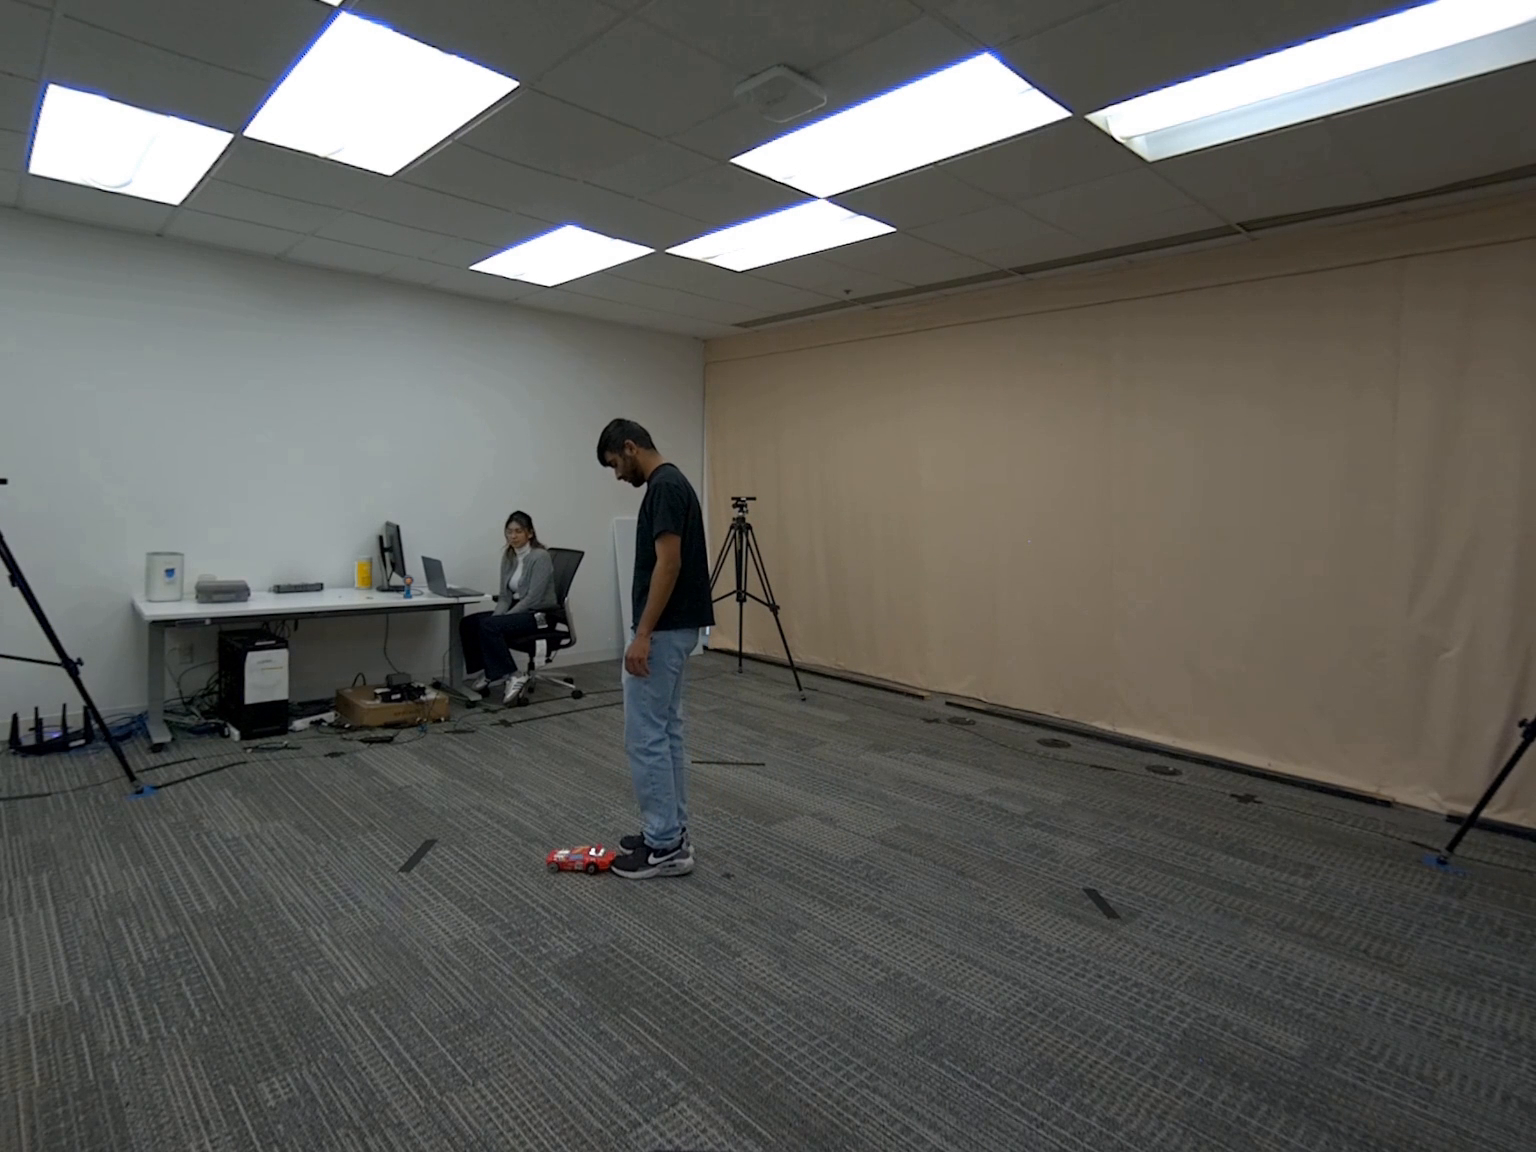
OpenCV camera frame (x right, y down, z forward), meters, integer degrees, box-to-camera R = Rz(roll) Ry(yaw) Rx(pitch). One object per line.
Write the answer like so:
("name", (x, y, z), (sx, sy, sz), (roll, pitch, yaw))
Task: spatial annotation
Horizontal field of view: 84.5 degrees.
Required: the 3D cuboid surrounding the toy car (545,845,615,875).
("toy car", (-0.692, 1.051, 3.137), (0.256, 0.083, 0.130), (-10, 3, 6))
